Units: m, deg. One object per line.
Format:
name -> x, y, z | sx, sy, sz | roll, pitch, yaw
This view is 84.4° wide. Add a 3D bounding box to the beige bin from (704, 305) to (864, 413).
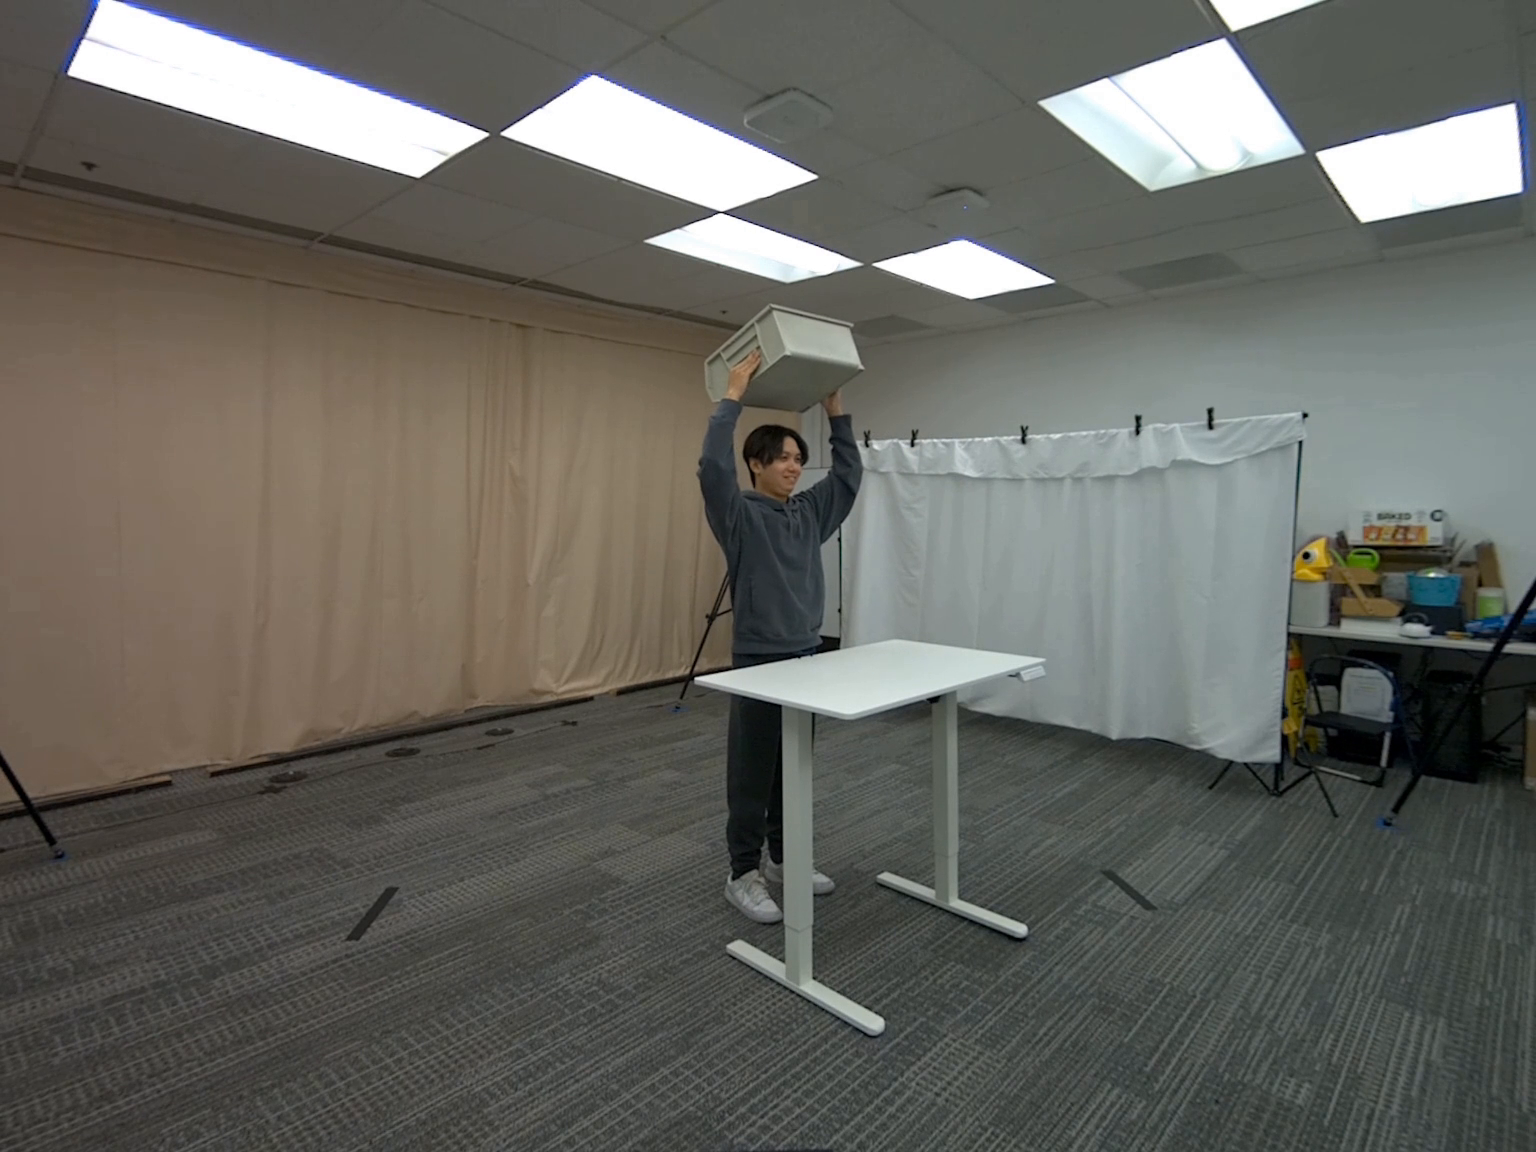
beige bin -> 0.054, -0.722, 2.916 | 0.409, 0.191, 0.384 | -3, -19, -45
